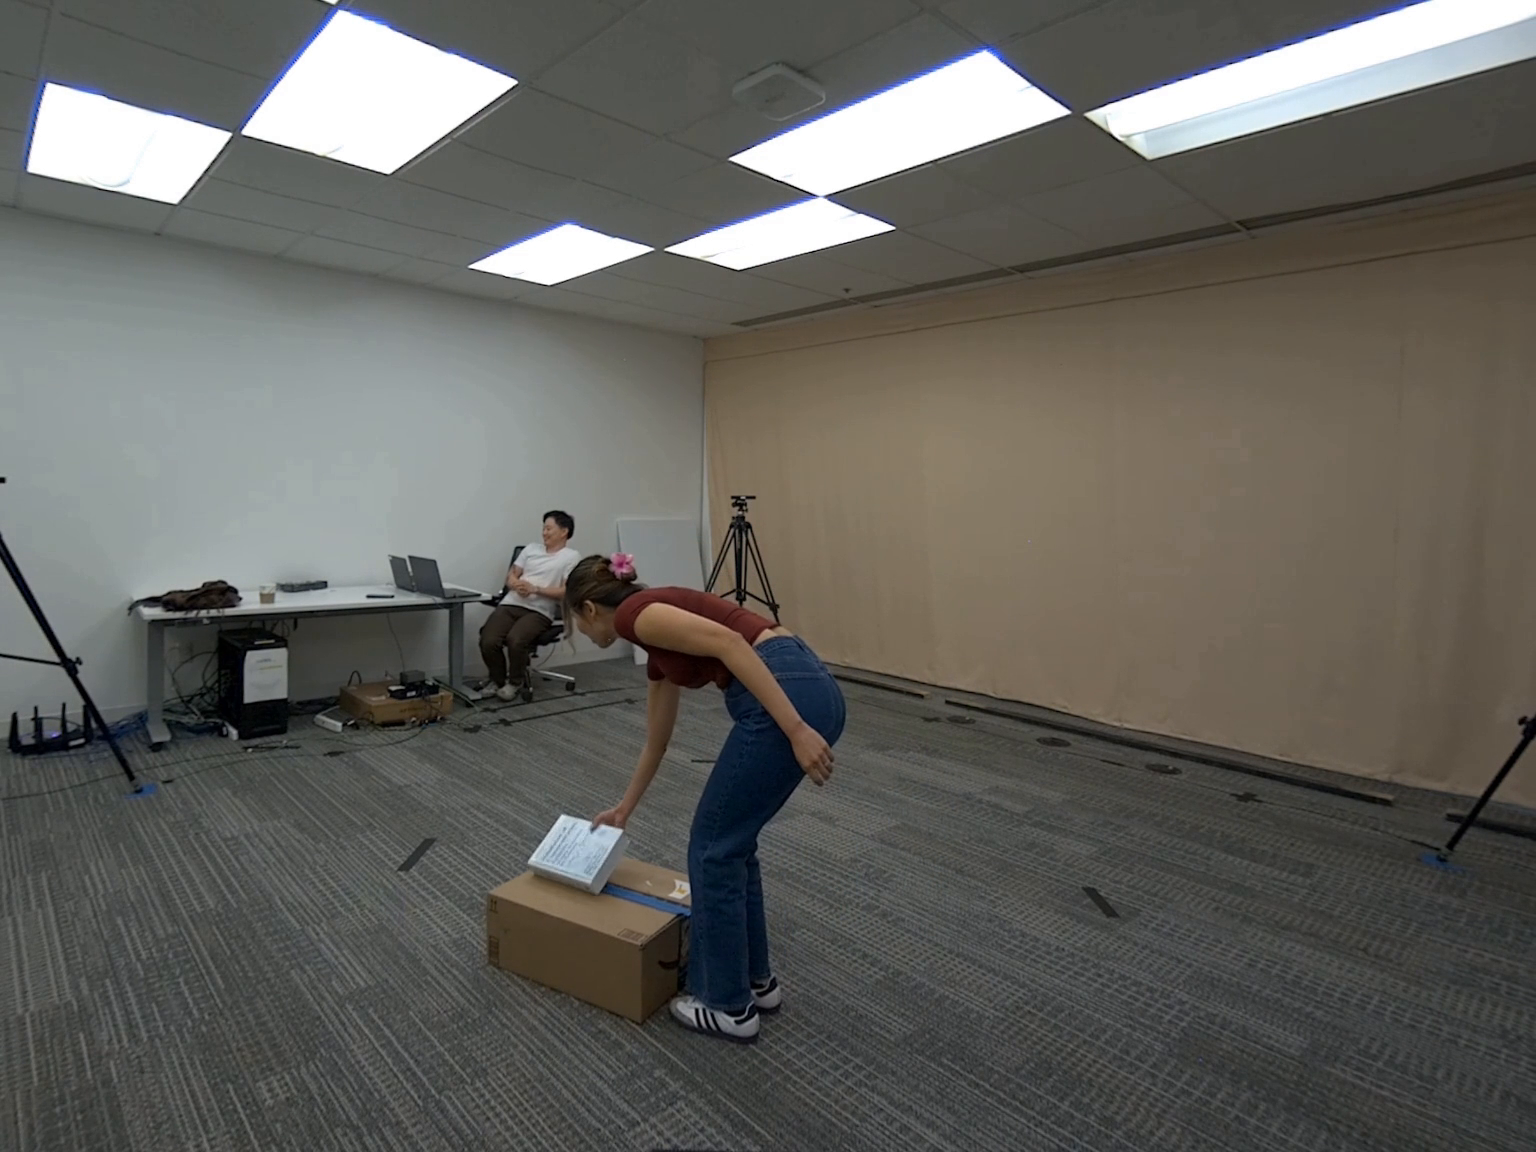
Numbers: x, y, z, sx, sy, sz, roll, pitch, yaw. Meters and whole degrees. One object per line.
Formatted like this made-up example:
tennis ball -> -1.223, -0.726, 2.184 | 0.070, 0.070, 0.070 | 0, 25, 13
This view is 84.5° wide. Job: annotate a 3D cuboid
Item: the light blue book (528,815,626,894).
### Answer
light blue book -> -0.576, 0.848, 2.568 | 0.267, 0.057, 0.192 | 2, 40, 32
